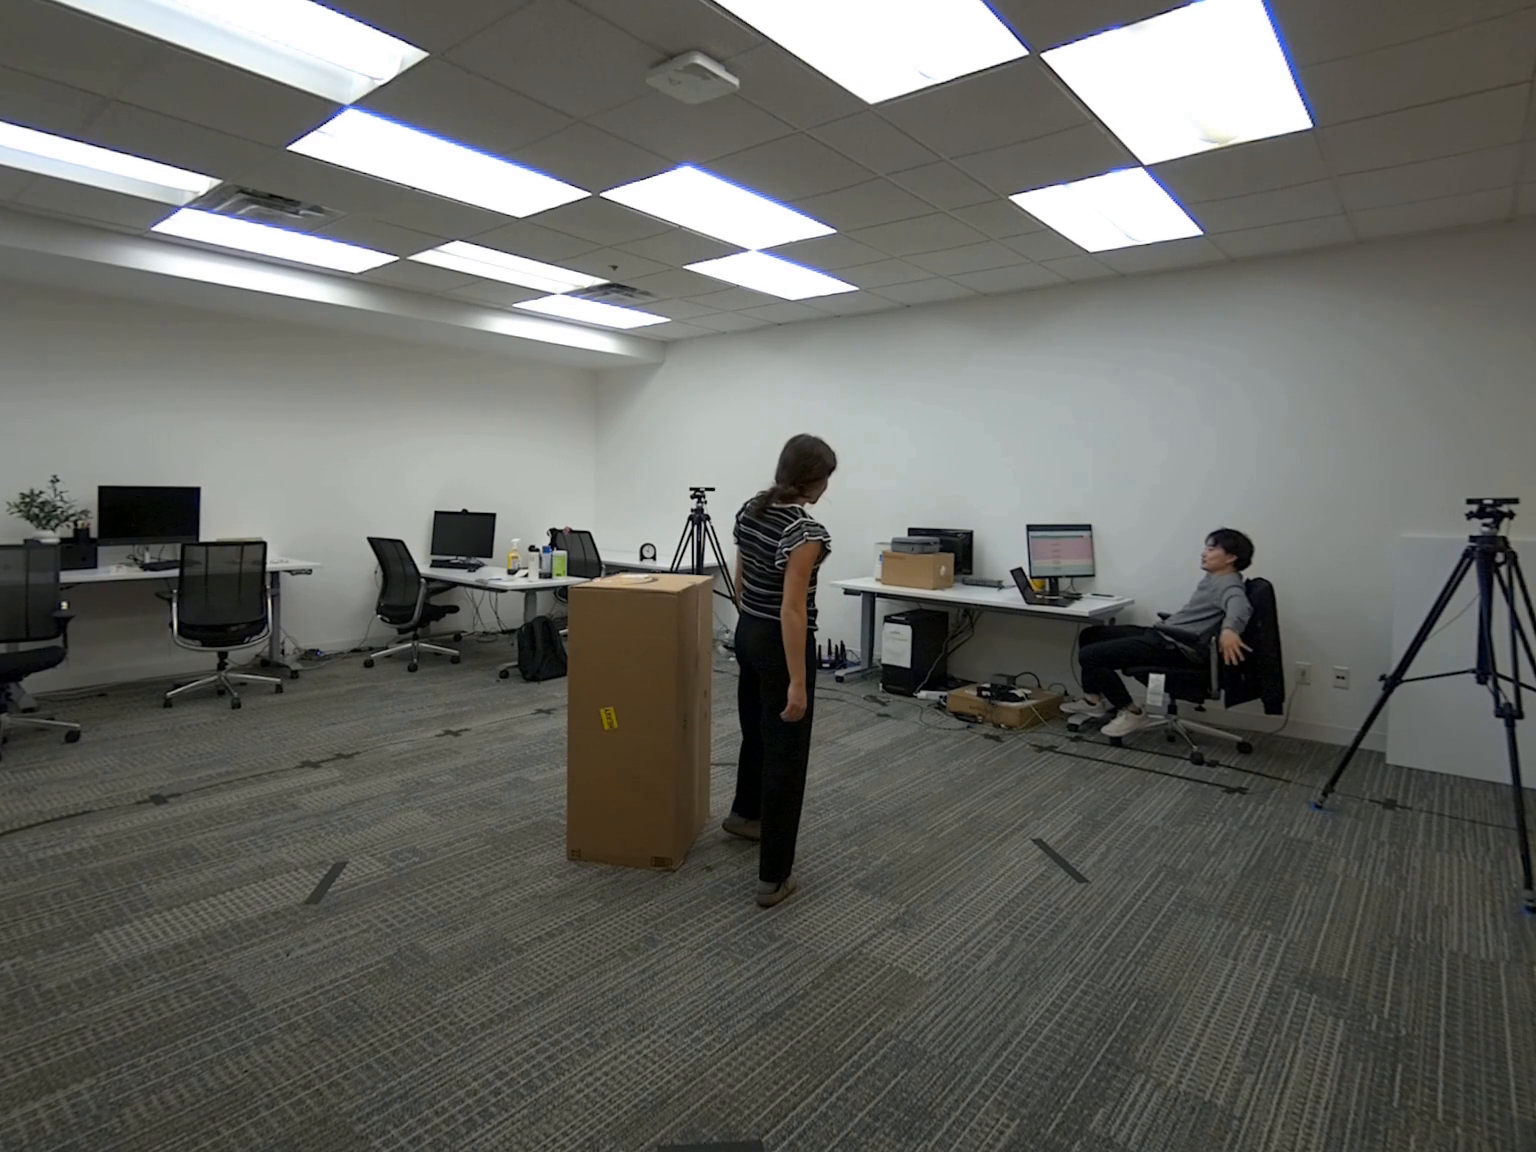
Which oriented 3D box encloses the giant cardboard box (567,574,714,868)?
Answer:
[{"bbox_3d":[-0.502,0.525,3.372,0.432,1.023,0.572,2,3,10],"label":"giant cardboard box"}]
